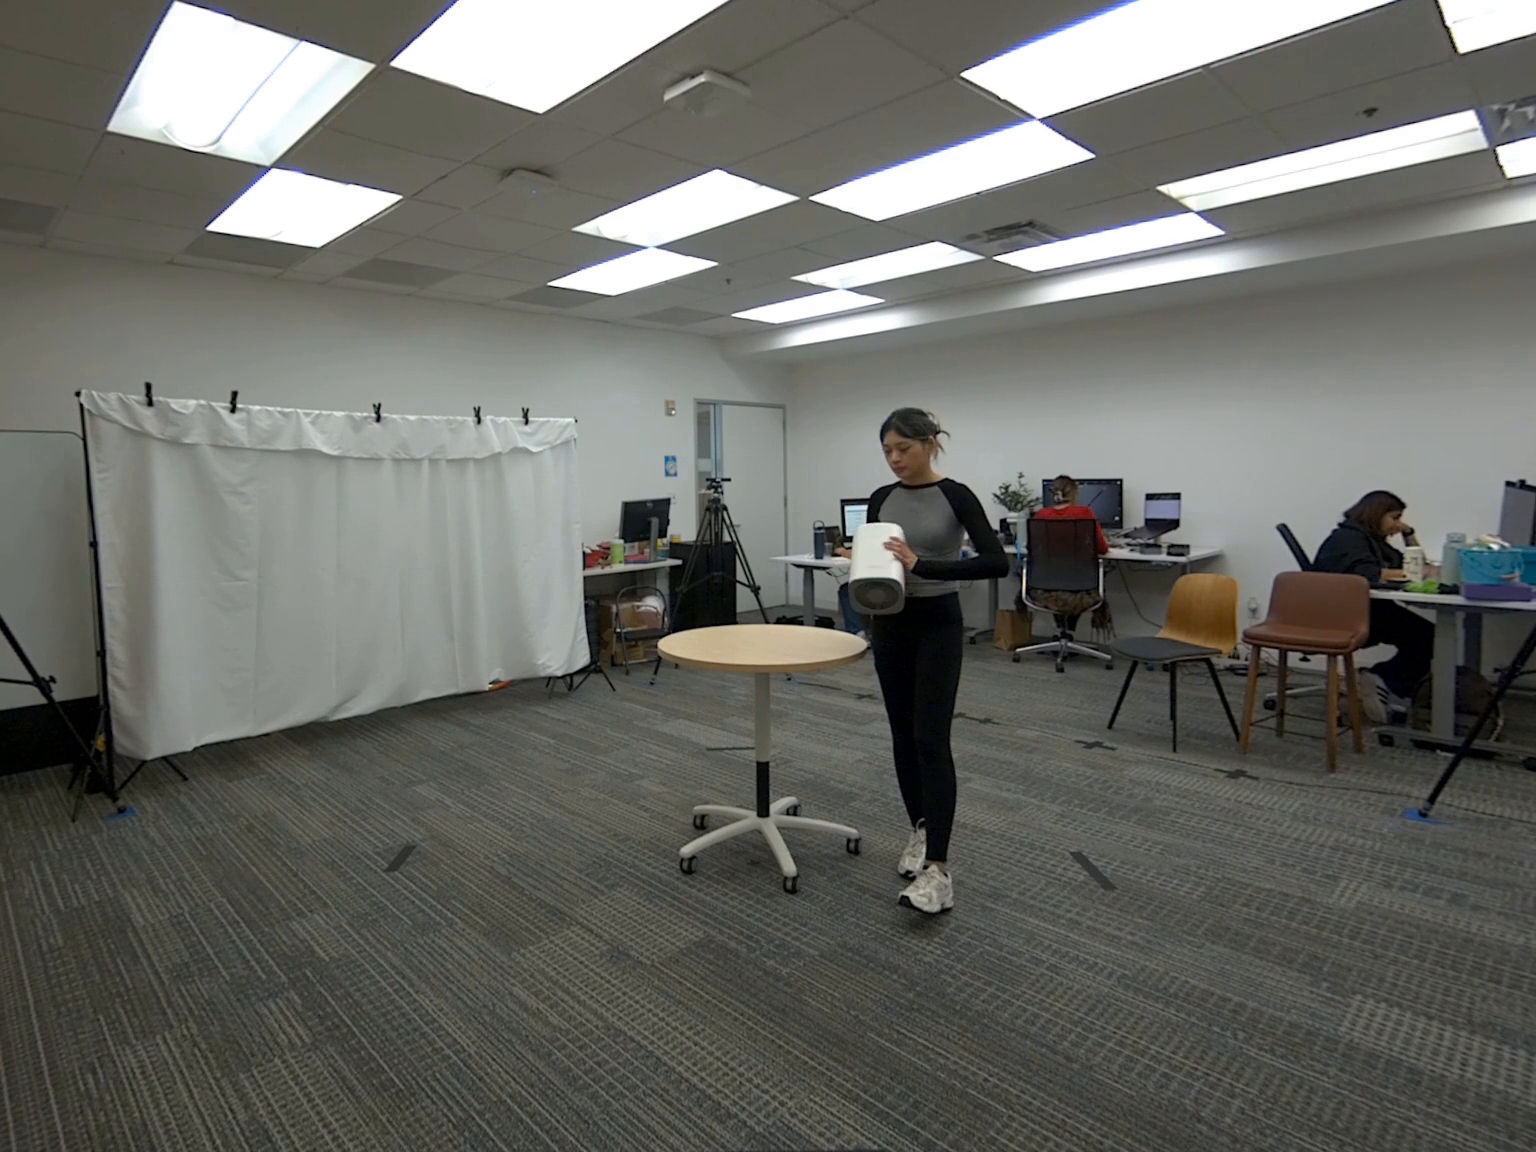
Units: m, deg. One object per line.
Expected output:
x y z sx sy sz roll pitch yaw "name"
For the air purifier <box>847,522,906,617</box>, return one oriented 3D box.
0.357 -0.027 2.786 0.173 0.166 0.271 -3 45 13 "air purifier"
